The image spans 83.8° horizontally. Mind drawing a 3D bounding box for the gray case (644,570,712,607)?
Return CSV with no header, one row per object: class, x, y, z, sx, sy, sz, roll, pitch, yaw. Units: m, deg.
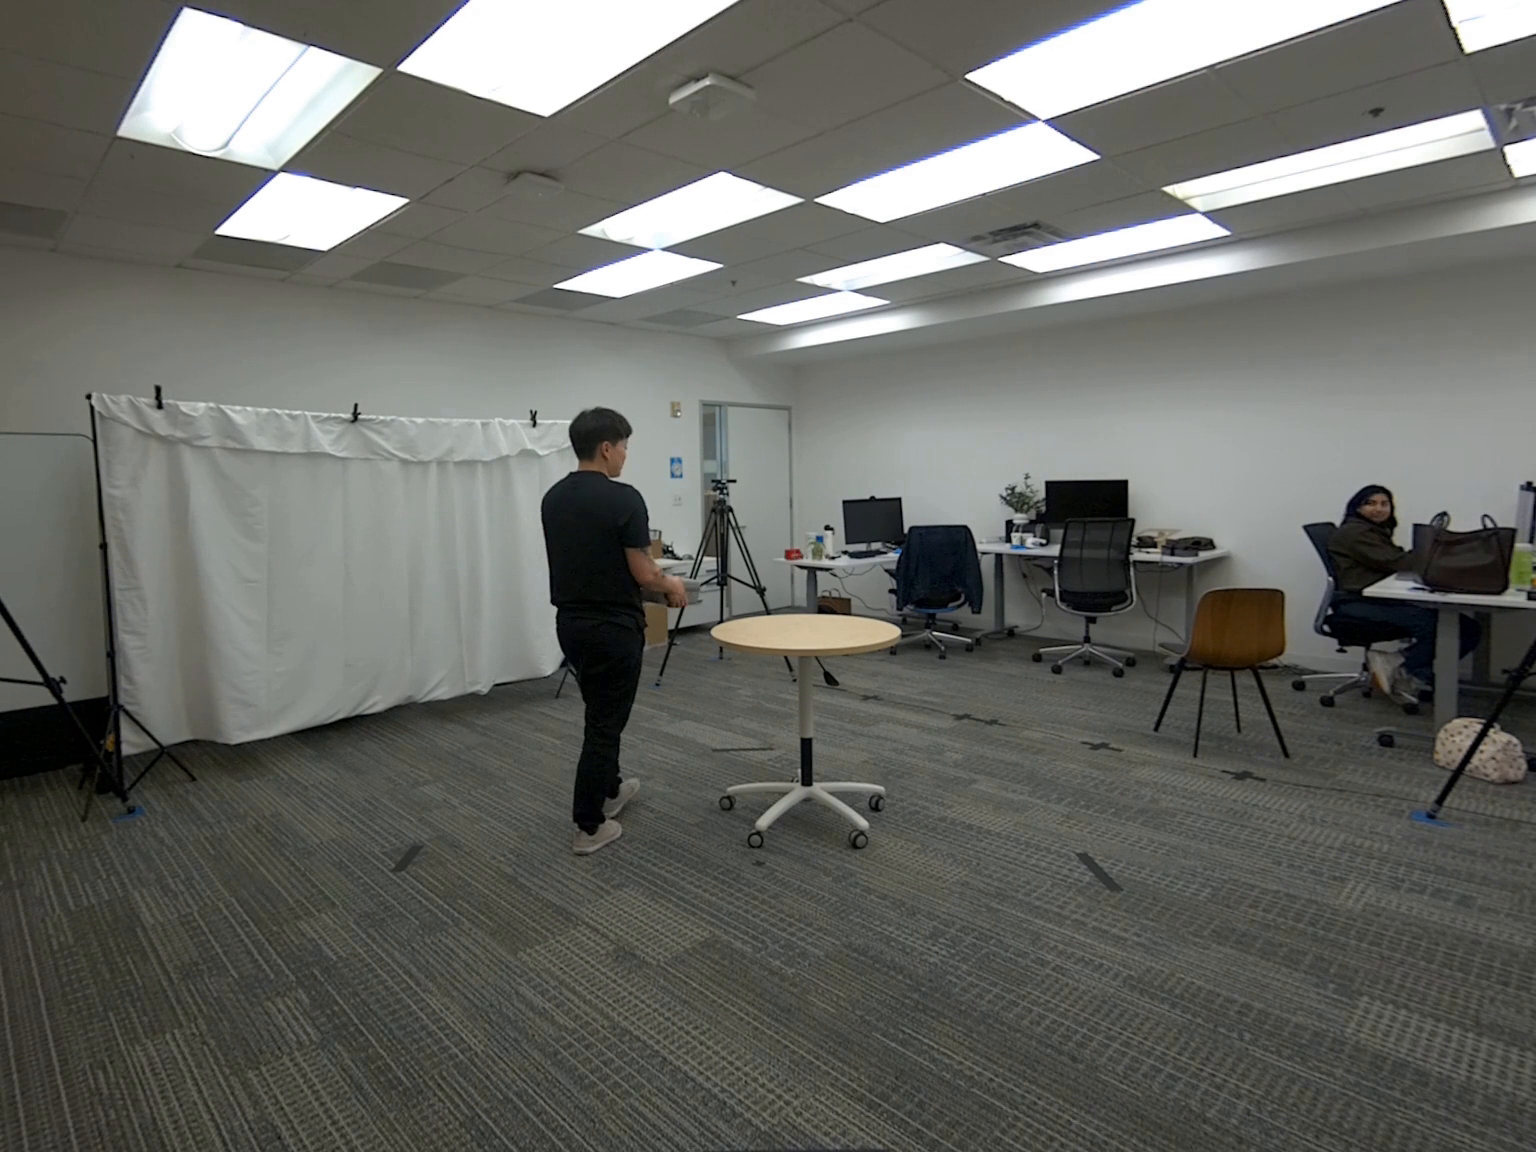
gray case,-0.418,0.047,3.525,0.265,0.104,0.254,8,6,33
